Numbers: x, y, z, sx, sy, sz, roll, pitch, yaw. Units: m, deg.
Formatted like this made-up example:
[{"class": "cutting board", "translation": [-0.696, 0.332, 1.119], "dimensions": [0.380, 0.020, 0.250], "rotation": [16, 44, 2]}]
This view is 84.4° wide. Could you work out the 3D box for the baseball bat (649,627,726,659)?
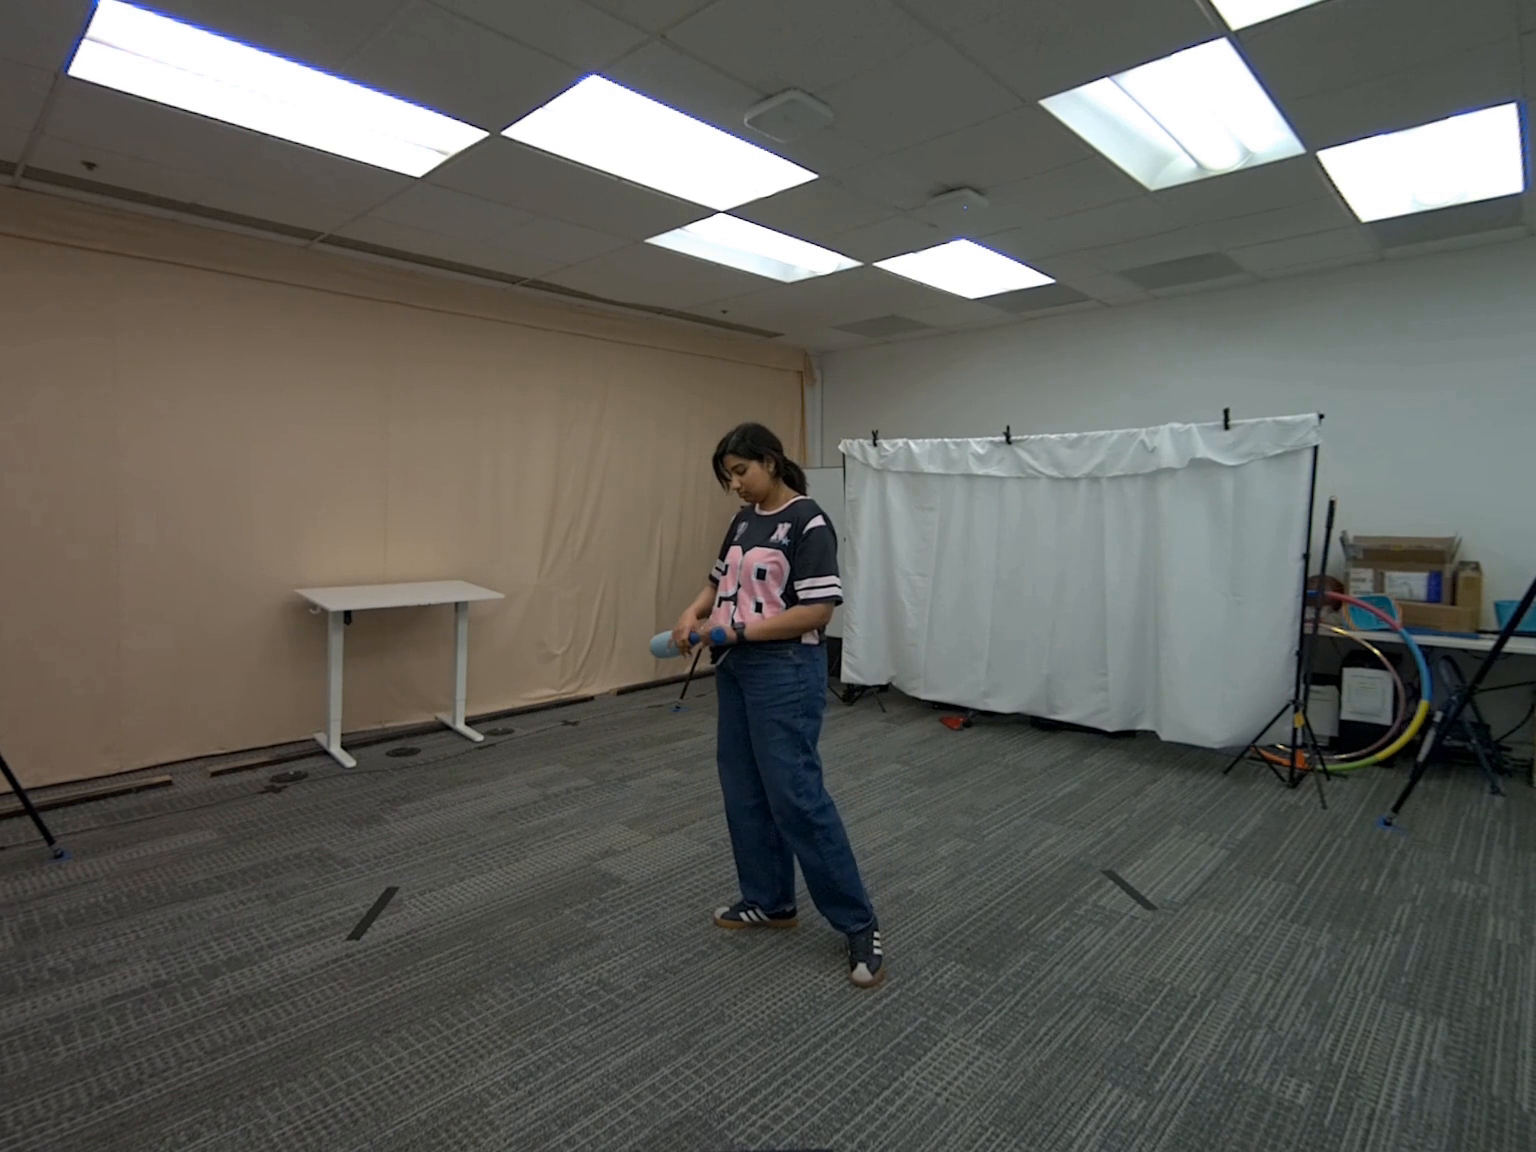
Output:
[{"class": "baseball bat", "translation": [-0.241, 0.216, 2.685], "dimensions": [0.087, 0.089, 0.553], "rotation": [-1, -8, -26]}]
